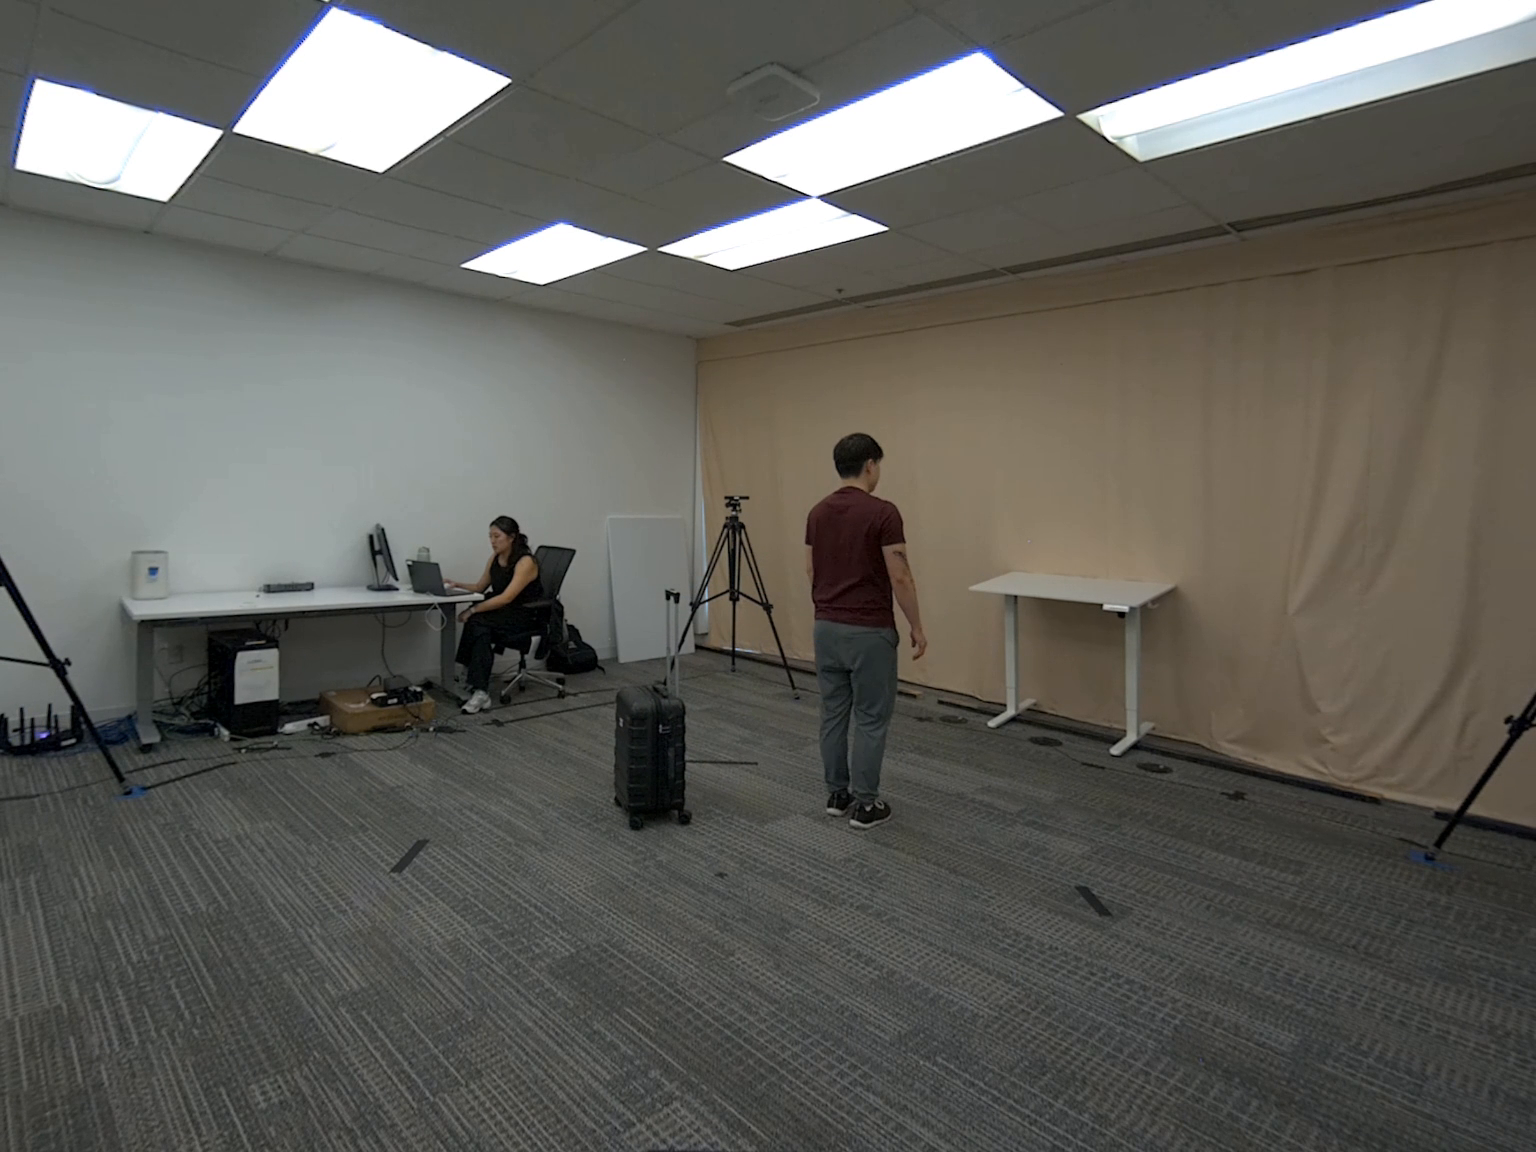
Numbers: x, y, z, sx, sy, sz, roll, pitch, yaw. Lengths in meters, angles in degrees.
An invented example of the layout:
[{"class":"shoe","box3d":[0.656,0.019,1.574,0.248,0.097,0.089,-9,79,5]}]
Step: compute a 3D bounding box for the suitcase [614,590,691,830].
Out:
[{"class":"suitcase","box3d":[-0.528,0.567,3.673,0.253,0.976,0.390,-3,3,-19]}]
